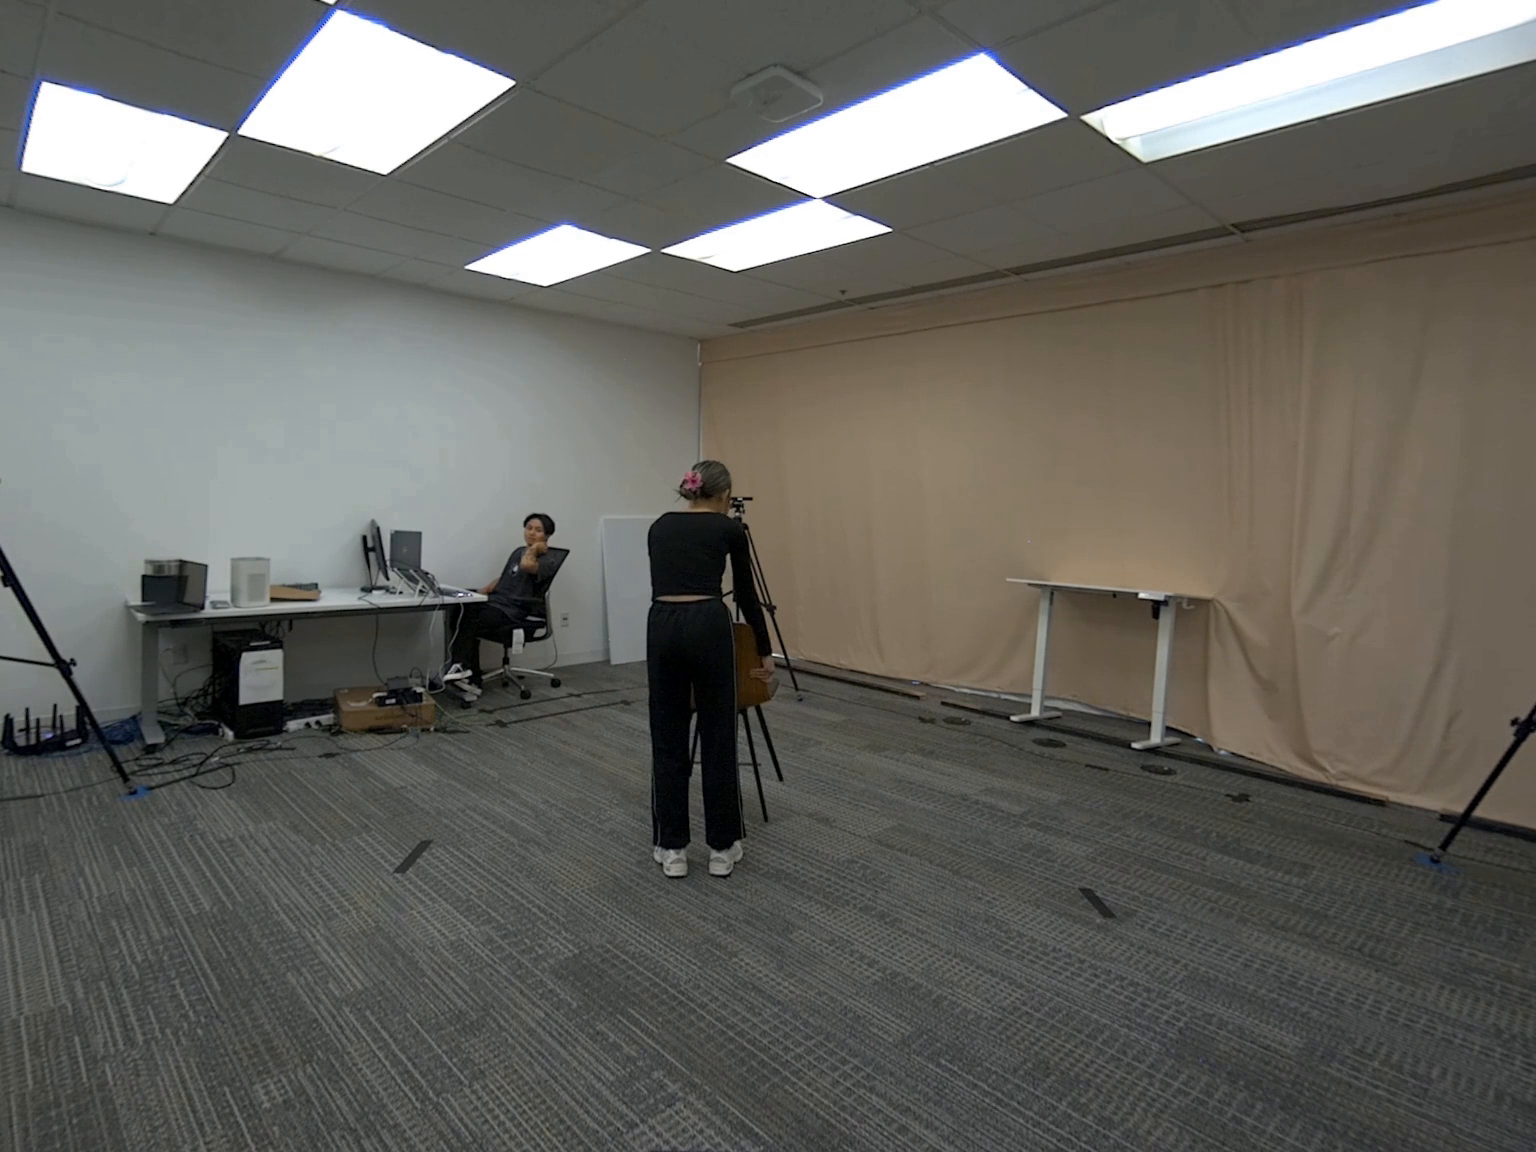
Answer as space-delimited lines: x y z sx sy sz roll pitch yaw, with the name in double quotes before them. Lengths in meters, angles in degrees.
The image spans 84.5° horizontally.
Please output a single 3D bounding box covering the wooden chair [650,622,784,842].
"wooden chair" -0.207 0.555 3.647 0.482 0.870 0.523 0 11 10
